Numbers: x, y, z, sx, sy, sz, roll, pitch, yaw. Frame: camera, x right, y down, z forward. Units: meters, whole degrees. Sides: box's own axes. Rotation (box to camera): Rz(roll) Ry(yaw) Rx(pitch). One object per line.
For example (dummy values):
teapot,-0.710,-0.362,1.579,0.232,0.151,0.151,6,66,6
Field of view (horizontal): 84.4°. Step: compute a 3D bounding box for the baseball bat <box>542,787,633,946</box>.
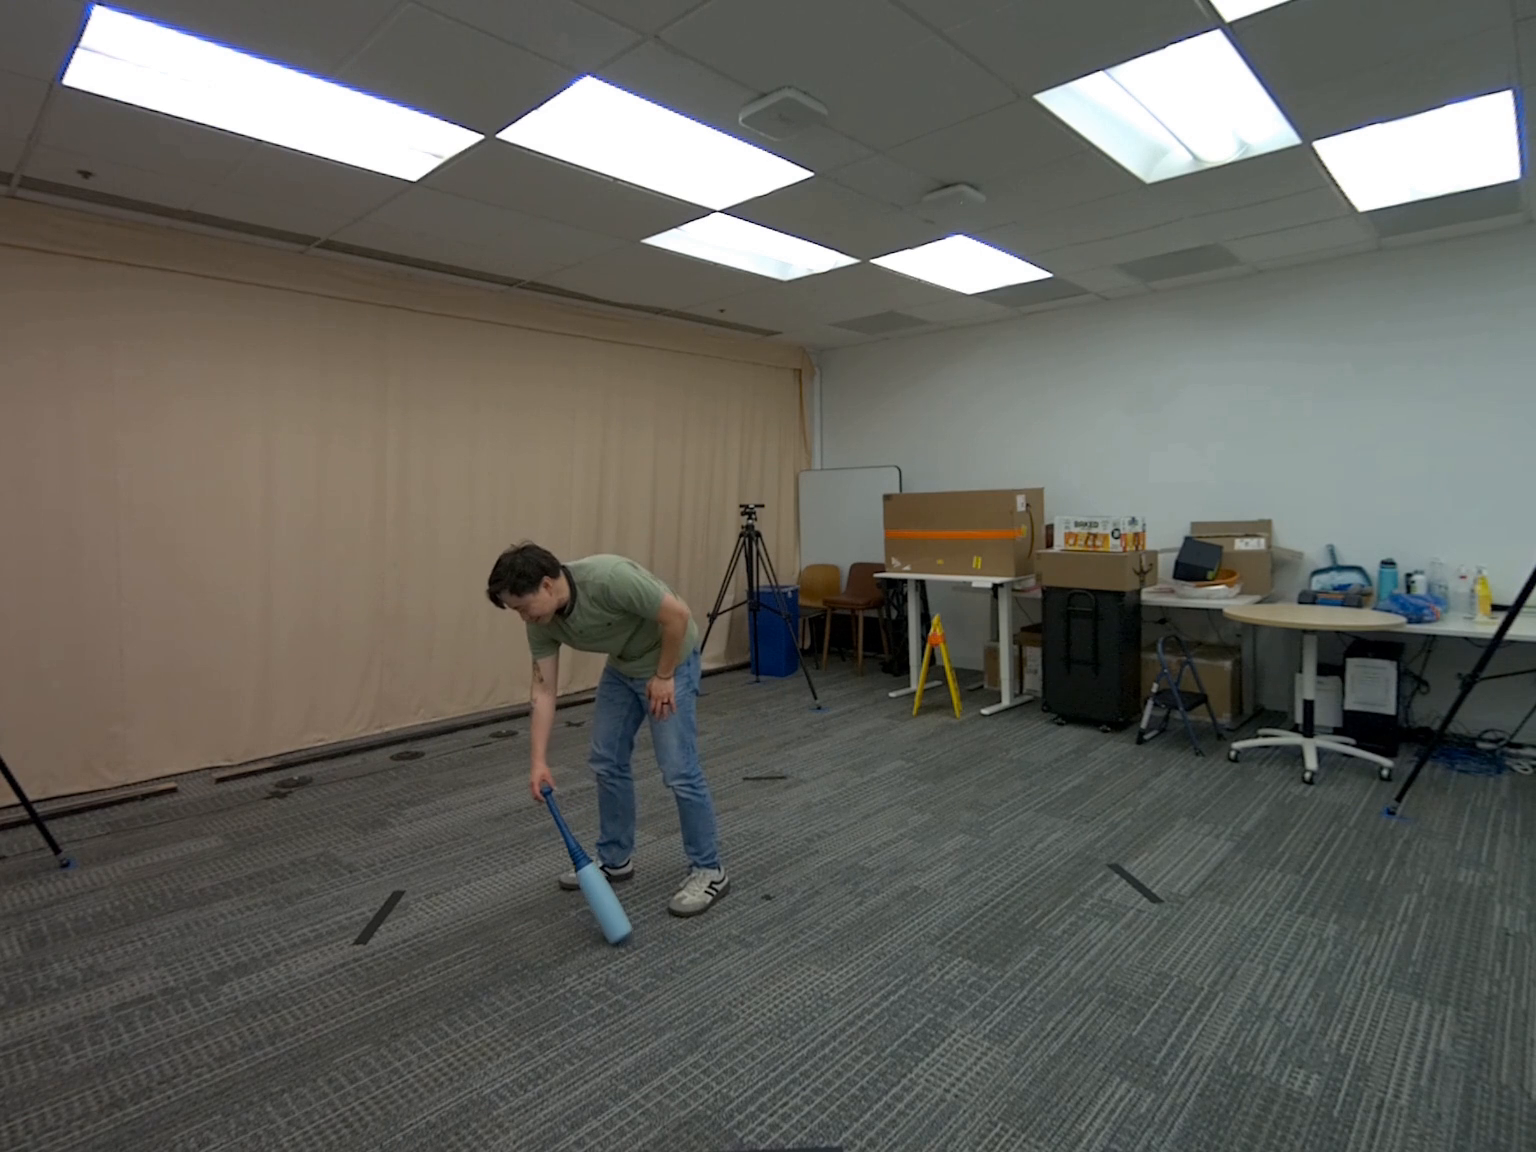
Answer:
baseball bat,-0.604,0.937,2.757,0.088,0.553,0.088,-31,-16,-11
